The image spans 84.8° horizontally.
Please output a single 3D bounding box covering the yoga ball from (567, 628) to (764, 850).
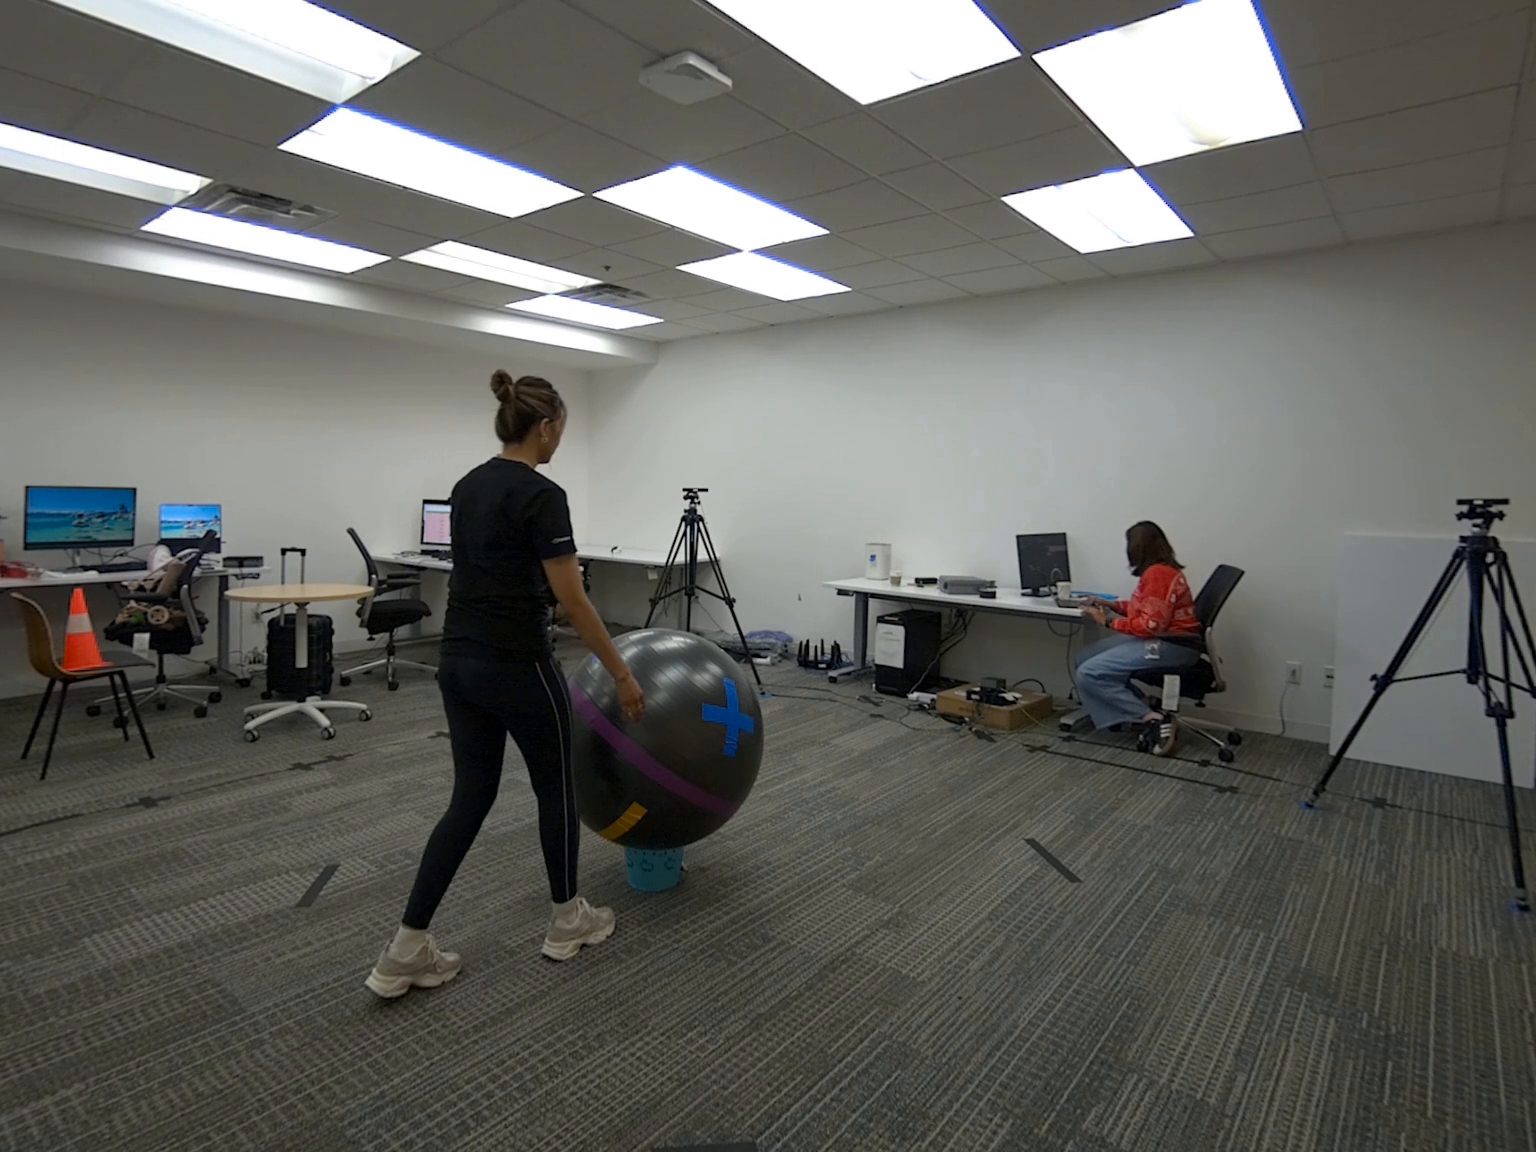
[{"bbox_3d":[-0.396,0.568,2.998,0.757,0.755,0.762,1,4,-2],"label":"yoga ball"}]
